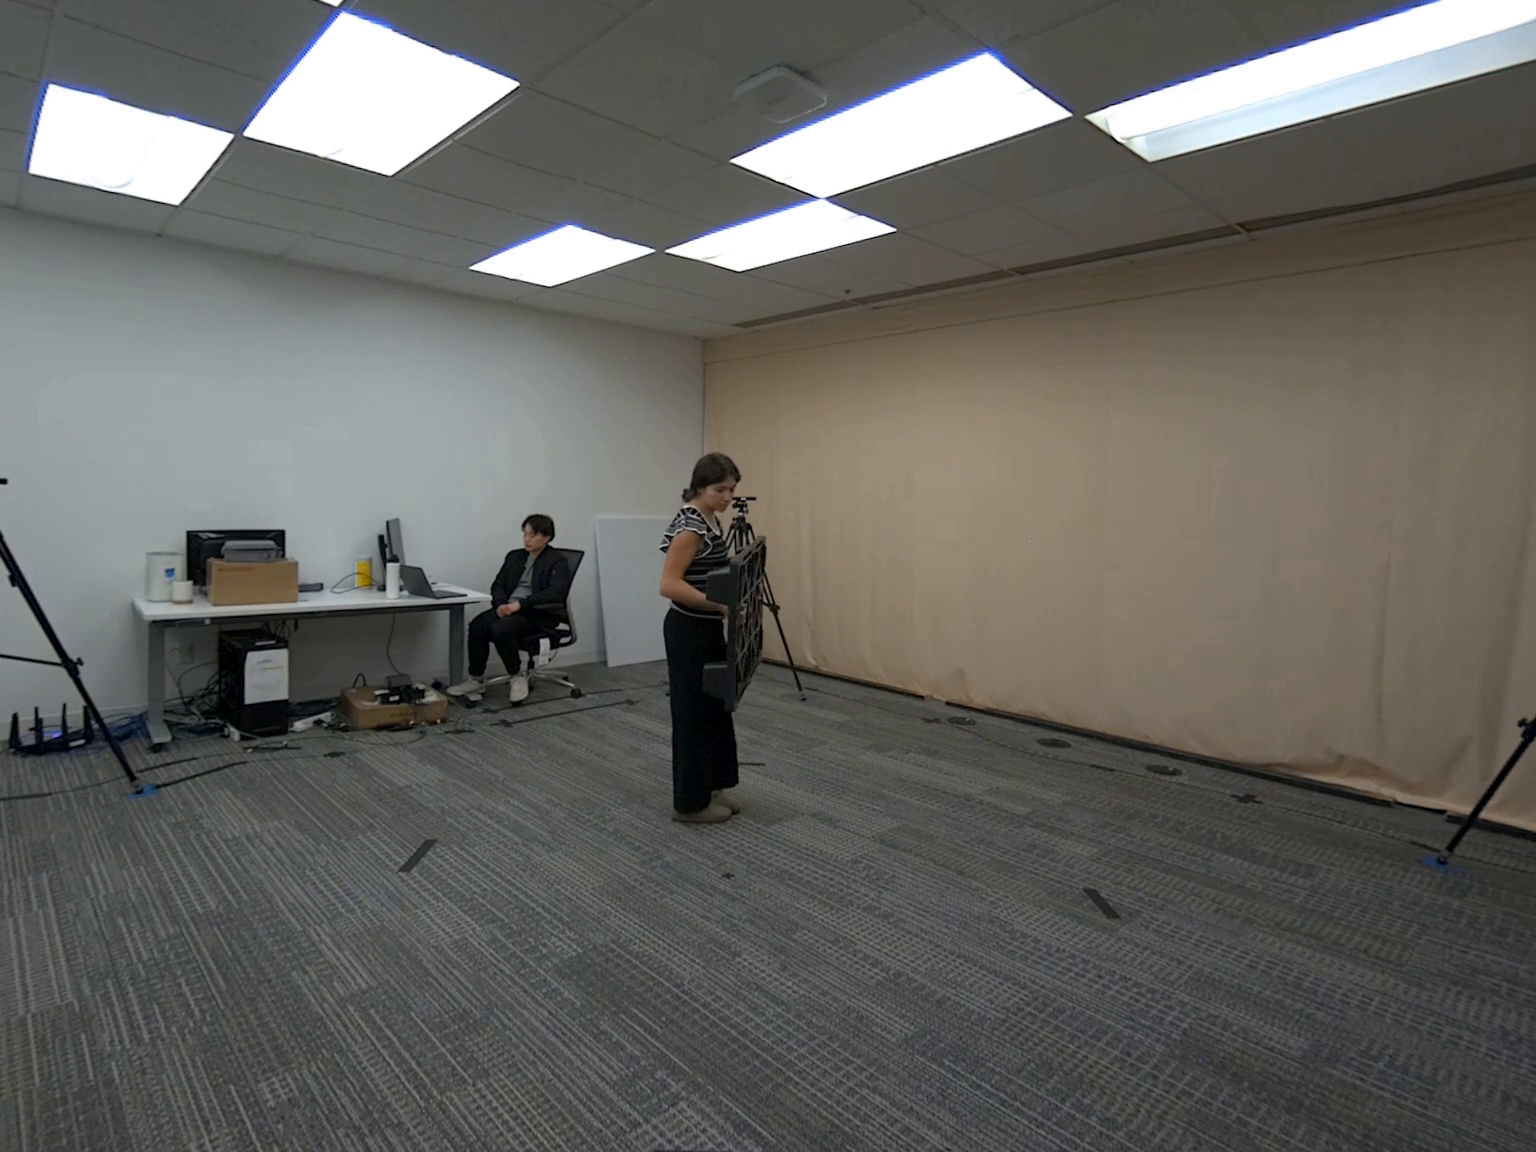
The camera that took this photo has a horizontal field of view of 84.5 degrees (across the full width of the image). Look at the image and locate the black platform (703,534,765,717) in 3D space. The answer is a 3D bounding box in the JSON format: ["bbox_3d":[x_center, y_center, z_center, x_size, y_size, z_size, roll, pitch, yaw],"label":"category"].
[{"bbox_3d":[-0.136,0.169,3.610,0.144,0.601,0.806,2,9,5],"label":"black platform"}]
